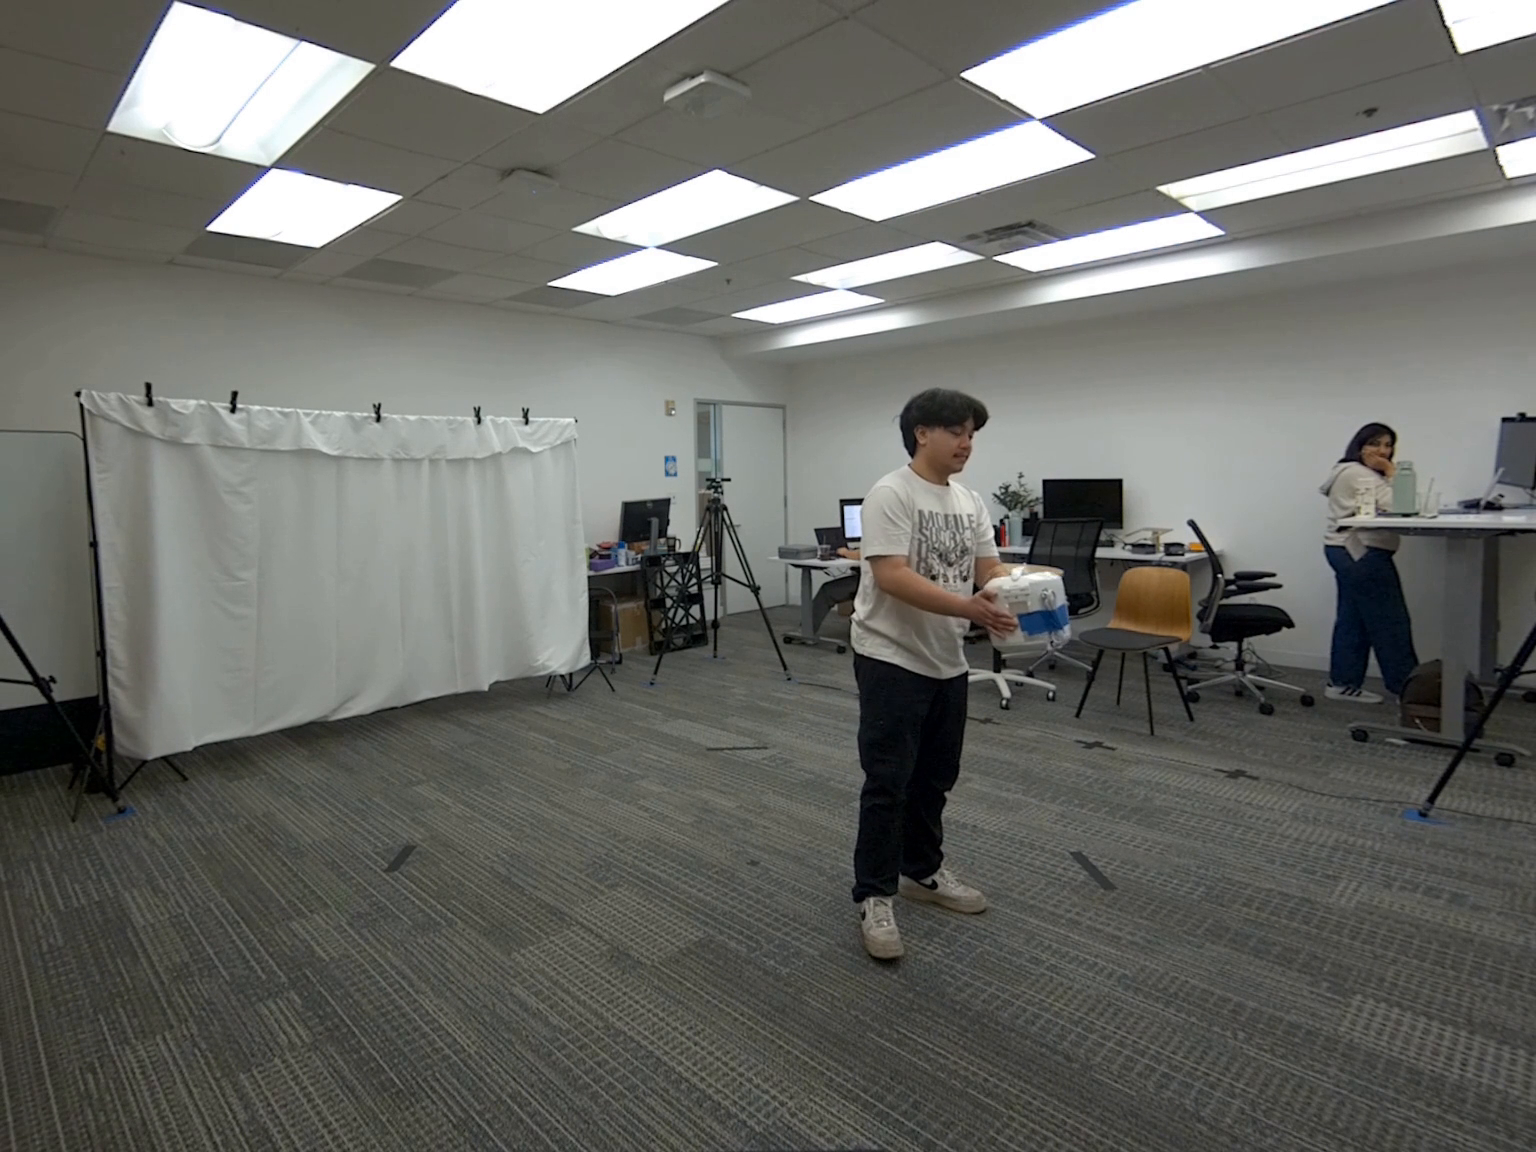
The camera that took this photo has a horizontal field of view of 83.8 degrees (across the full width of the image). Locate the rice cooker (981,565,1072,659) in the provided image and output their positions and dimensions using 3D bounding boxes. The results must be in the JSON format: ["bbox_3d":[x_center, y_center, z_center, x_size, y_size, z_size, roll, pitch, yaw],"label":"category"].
[{"bbox_3d":[0.726,0.087,2.384,0.221,0.233,0.216,-10,-2,26],"label":"rice cooker"}]
